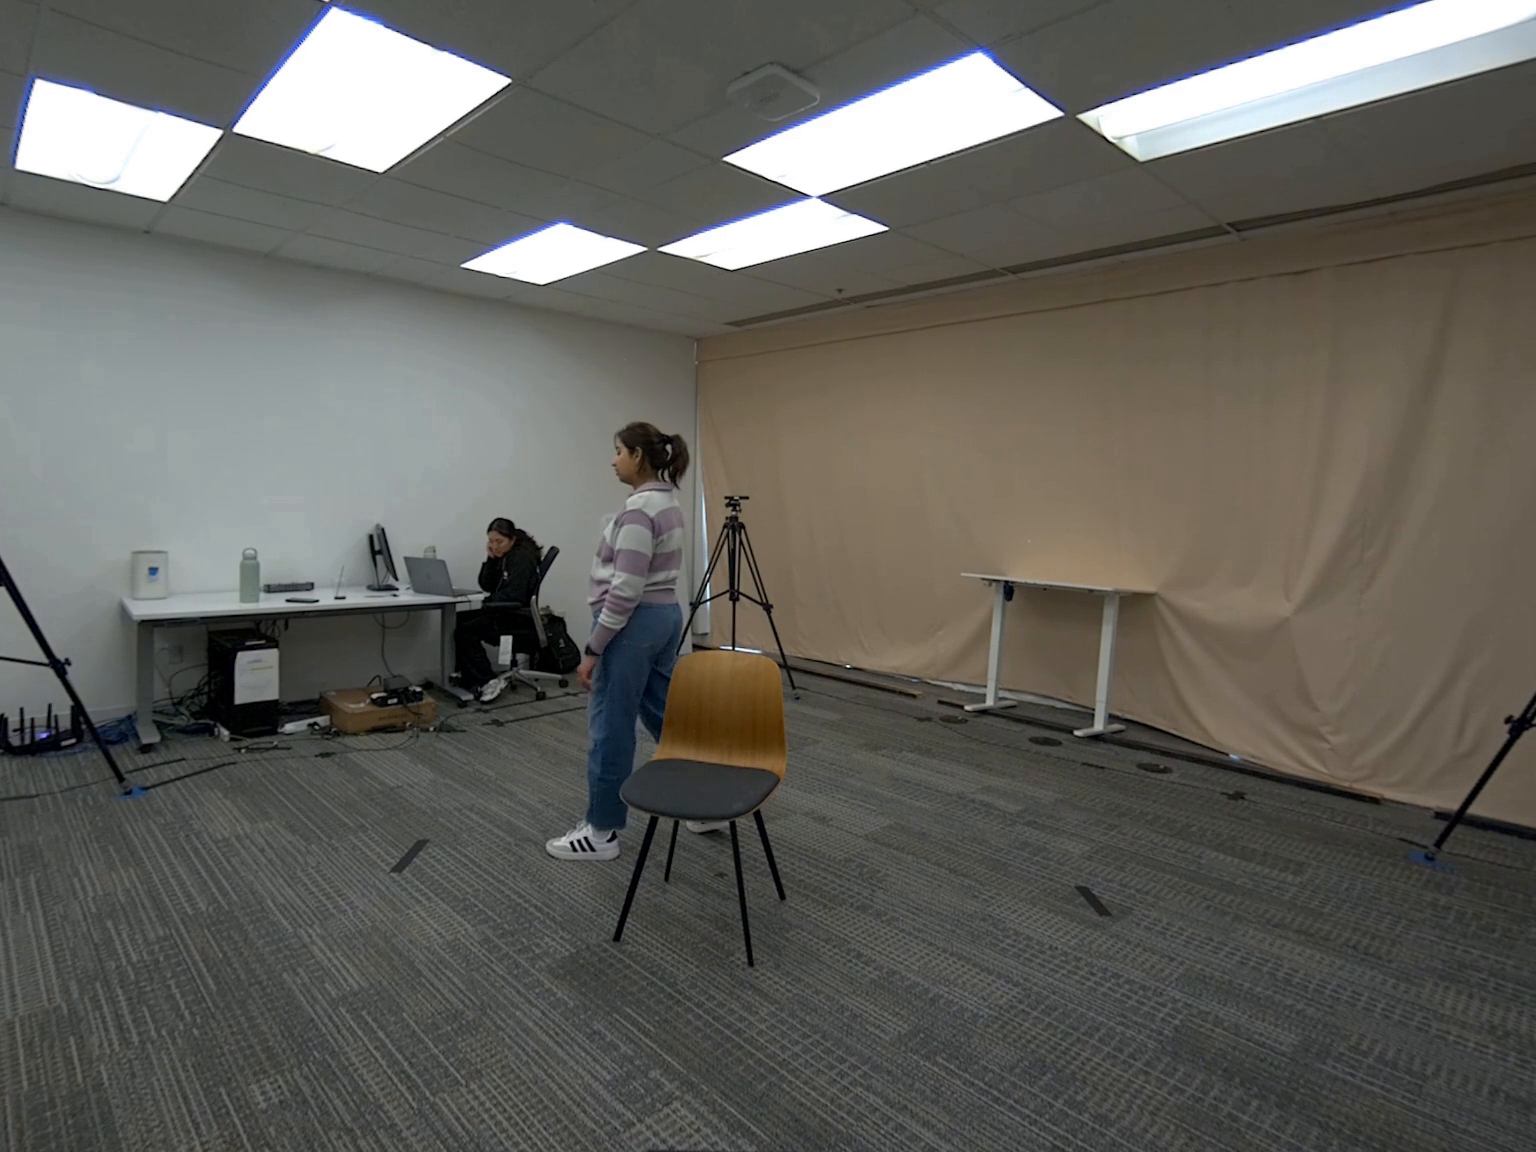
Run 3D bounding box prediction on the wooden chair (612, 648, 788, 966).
[{"bbox_3d":[-0.203,0.712,2.730,0.484,0.877,0.516,2,0,15],"label":"wooden chair"}]
